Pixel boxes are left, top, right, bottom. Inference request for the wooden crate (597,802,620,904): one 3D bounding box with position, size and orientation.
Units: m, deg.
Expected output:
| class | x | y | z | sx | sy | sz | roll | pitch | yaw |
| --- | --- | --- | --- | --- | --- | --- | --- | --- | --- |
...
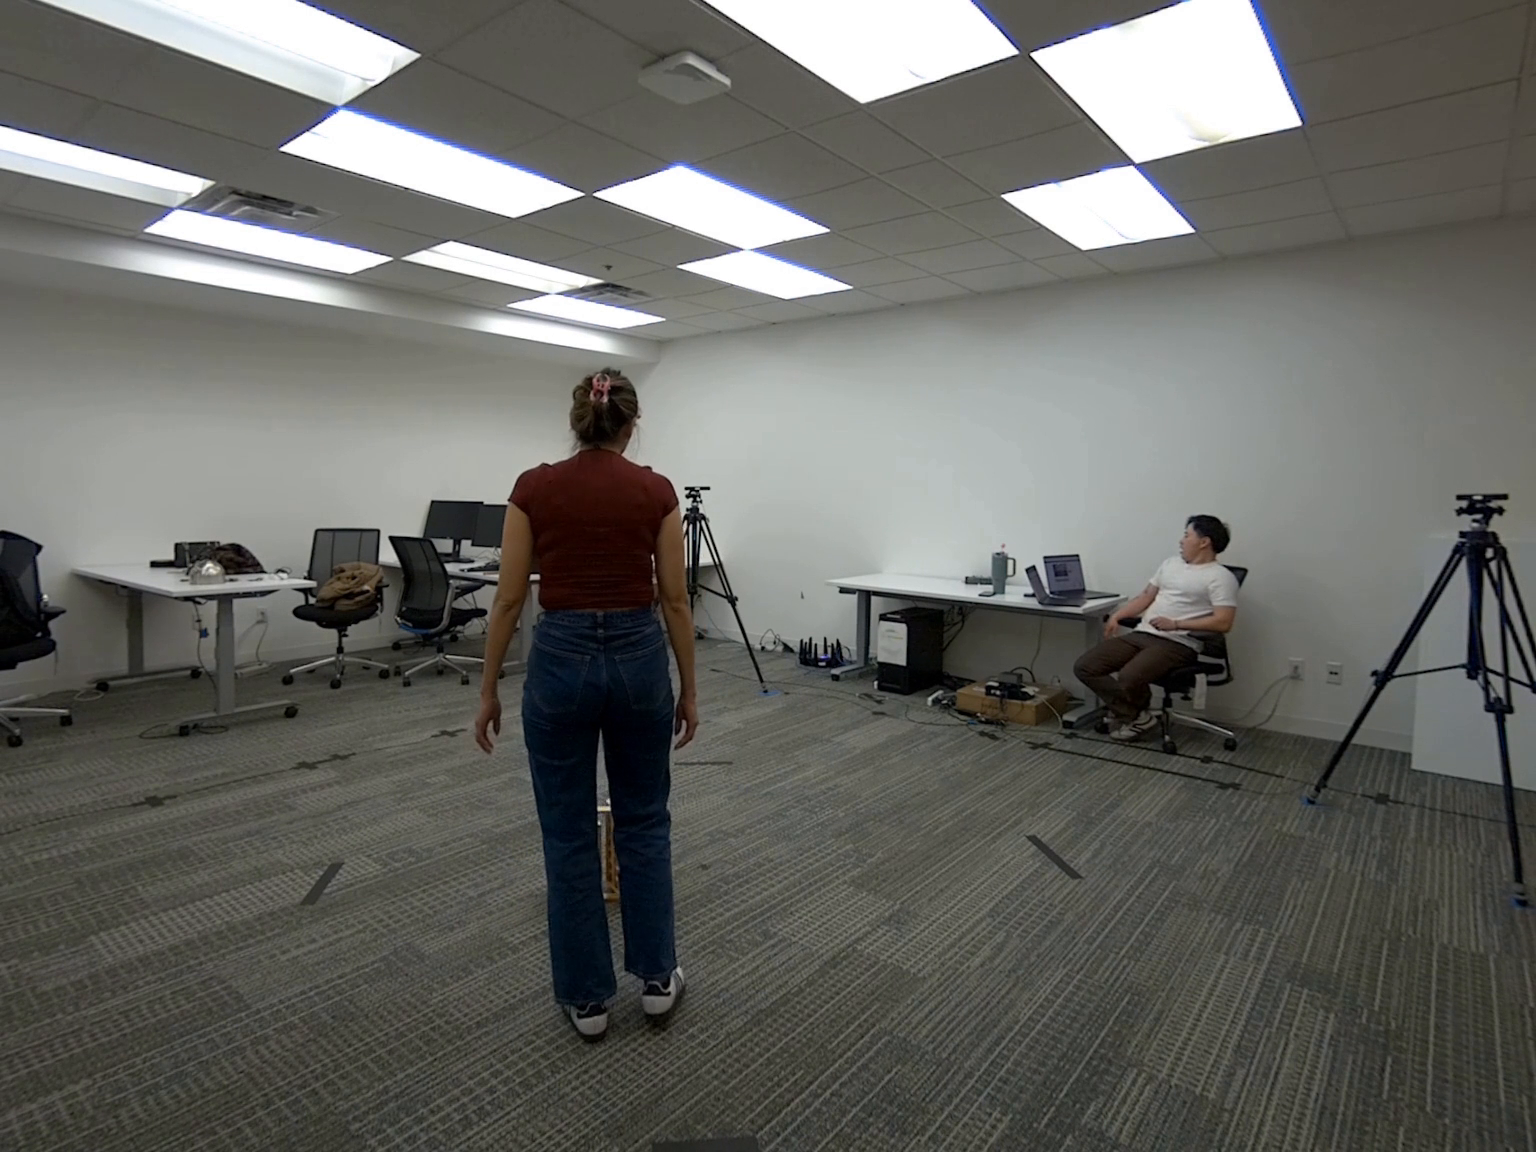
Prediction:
| class | x | y | z | sx | sy | sz | roll | pitch | yaw |
| --- | --- | --- | --- | --- | --- | --- | --- | --- | --- |
| wooden crate | -0.565 | 0.915 | 2.853 | 0.266 | 0.321 | 0.313 | -6 | 12 | -32 |
